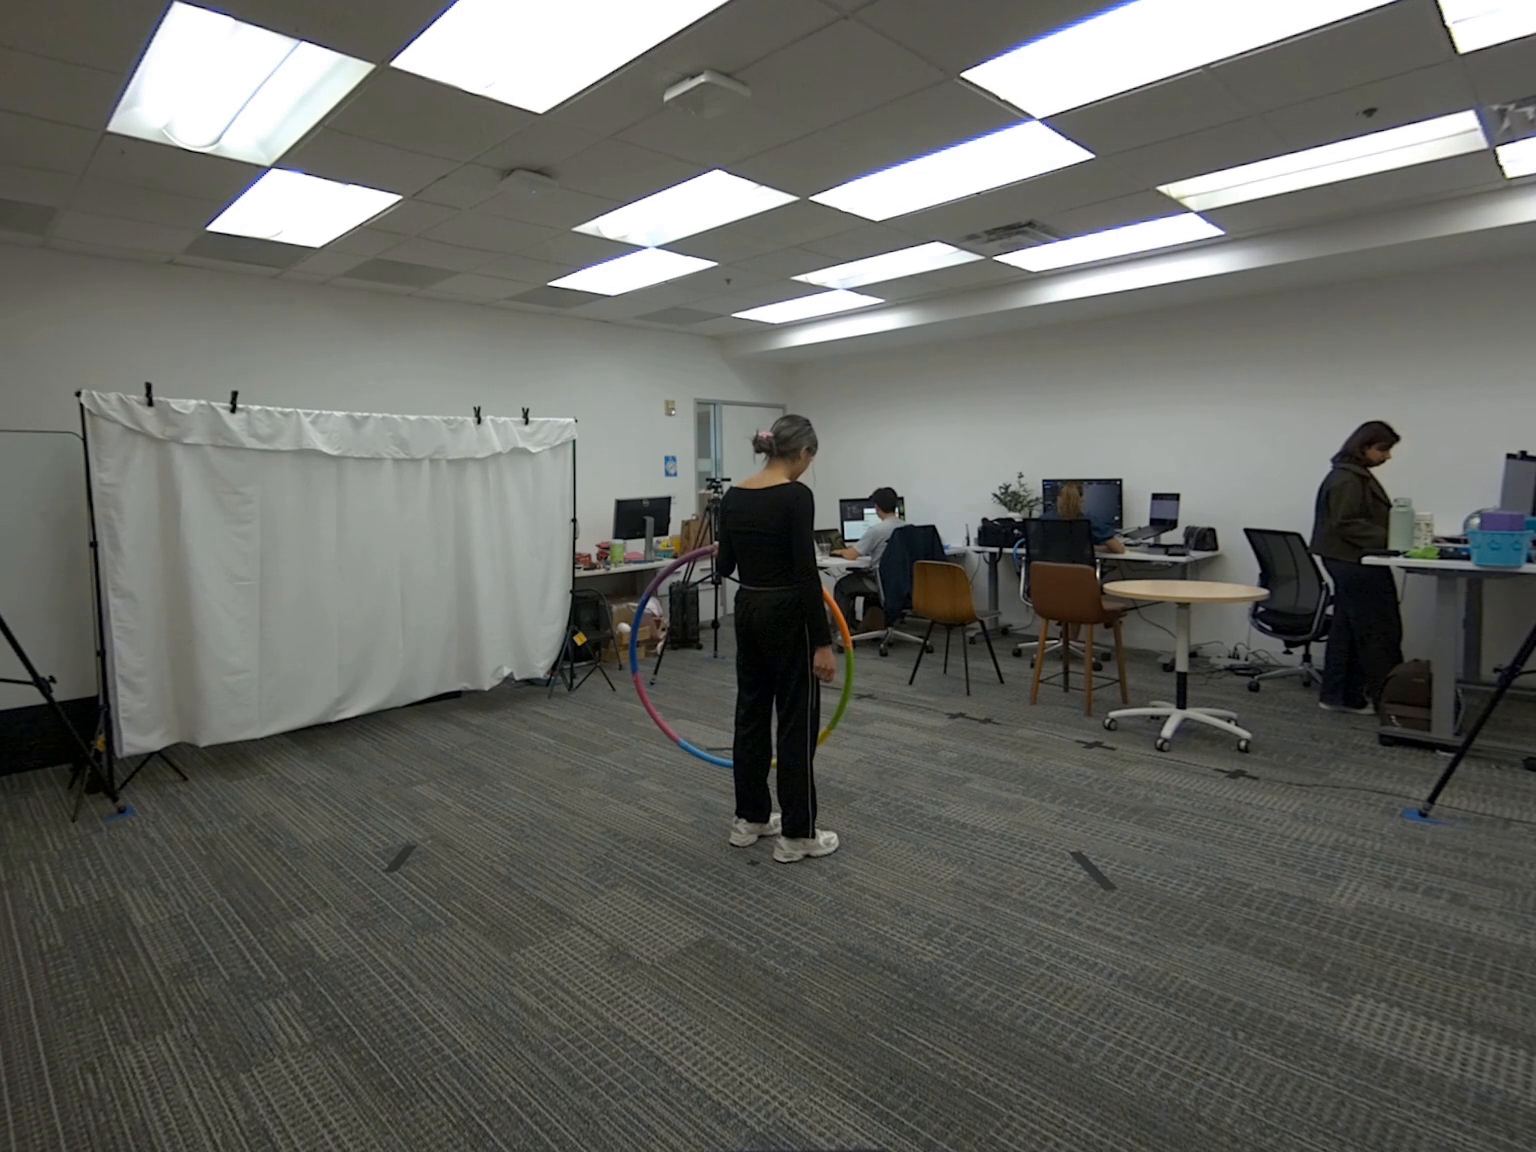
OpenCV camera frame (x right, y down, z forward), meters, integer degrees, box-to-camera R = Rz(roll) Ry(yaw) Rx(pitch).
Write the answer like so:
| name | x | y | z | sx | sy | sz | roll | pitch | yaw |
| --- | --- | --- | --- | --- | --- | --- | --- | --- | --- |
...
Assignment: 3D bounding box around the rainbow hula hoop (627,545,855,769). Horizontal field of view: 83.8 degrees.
| name | x | y | z | sx | sy | sz | roll | pitch | yaw |
| --- | --- | --- | --- | --- | --- | --- | --- | --- | --- |
| rainbow hula hoop | -0.125 | 0.357 | 3.597 | 0.994 | 0.968 | 0.035 | 1 | 12 | 16 |
